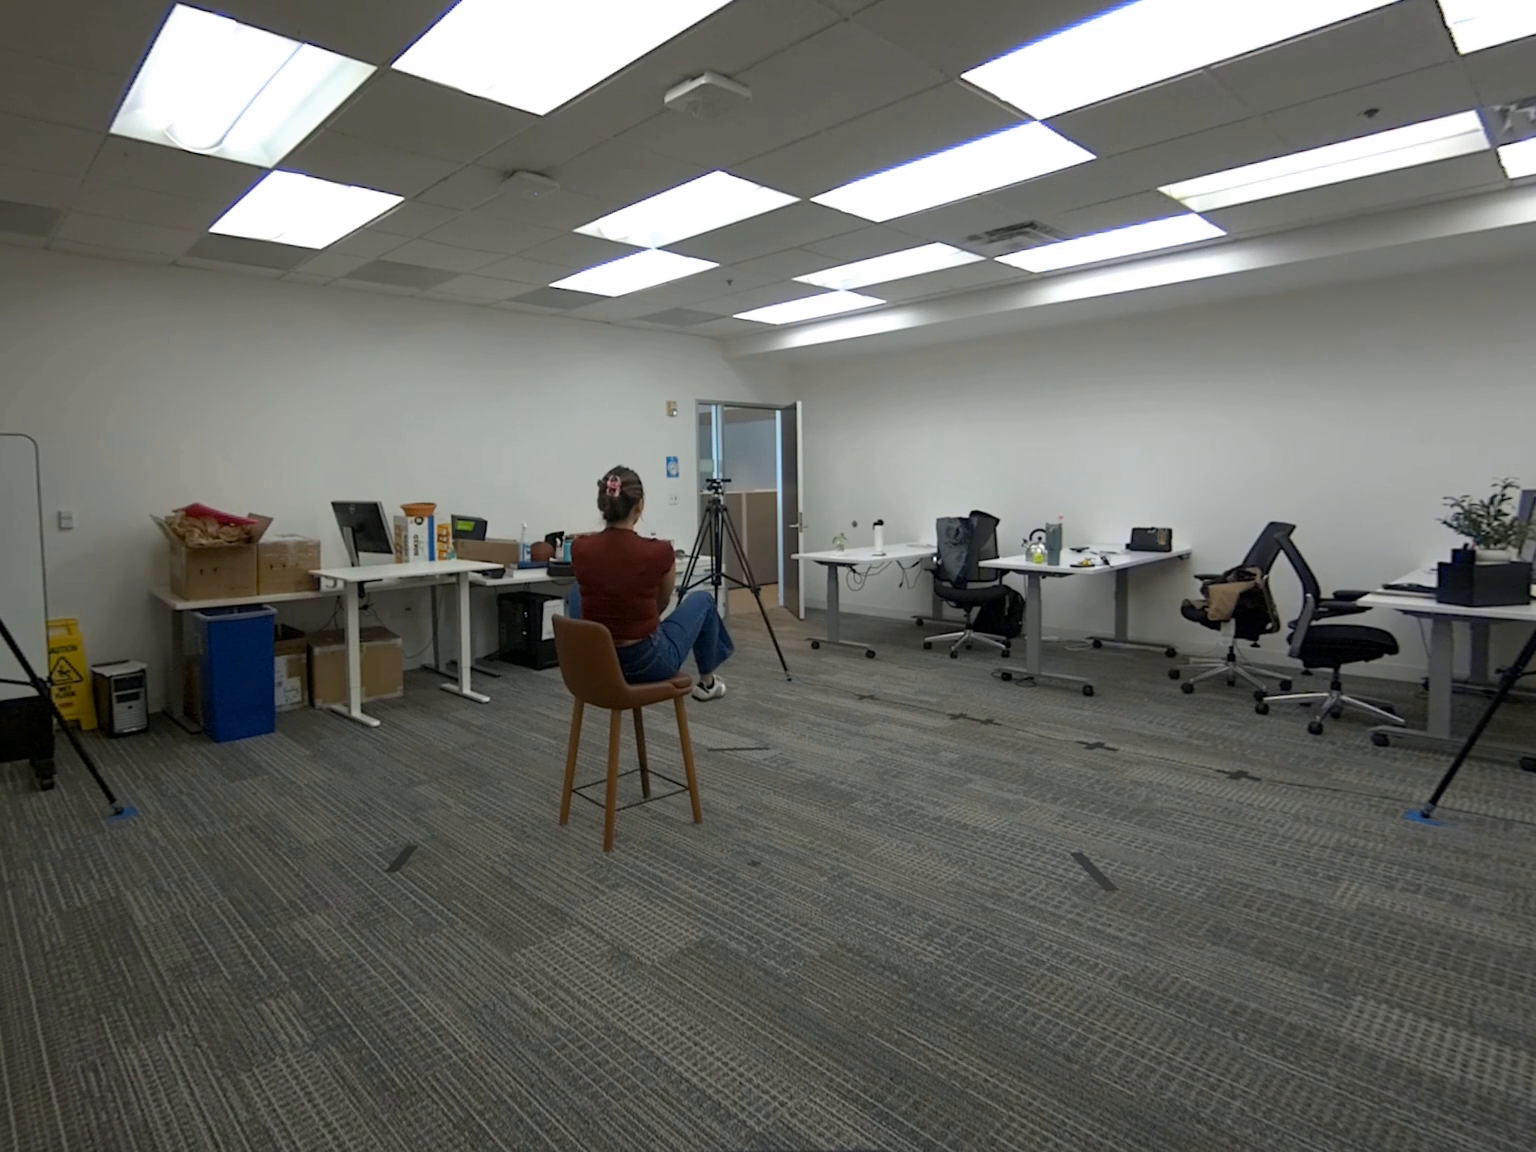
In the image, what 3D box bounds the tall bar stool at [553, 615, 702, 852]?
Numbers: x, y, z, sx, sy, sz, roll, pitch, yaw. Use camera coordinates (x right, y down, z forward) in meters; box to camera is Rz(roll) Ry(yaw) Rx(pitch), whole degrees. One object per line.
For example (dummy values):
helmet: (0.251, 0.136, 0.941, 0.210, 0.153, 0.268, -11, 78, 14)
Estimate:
tall bar stool: (-0.589, 0.579, 3.477, 0.456, 0.886, 0.470, -7, 6, -40)
